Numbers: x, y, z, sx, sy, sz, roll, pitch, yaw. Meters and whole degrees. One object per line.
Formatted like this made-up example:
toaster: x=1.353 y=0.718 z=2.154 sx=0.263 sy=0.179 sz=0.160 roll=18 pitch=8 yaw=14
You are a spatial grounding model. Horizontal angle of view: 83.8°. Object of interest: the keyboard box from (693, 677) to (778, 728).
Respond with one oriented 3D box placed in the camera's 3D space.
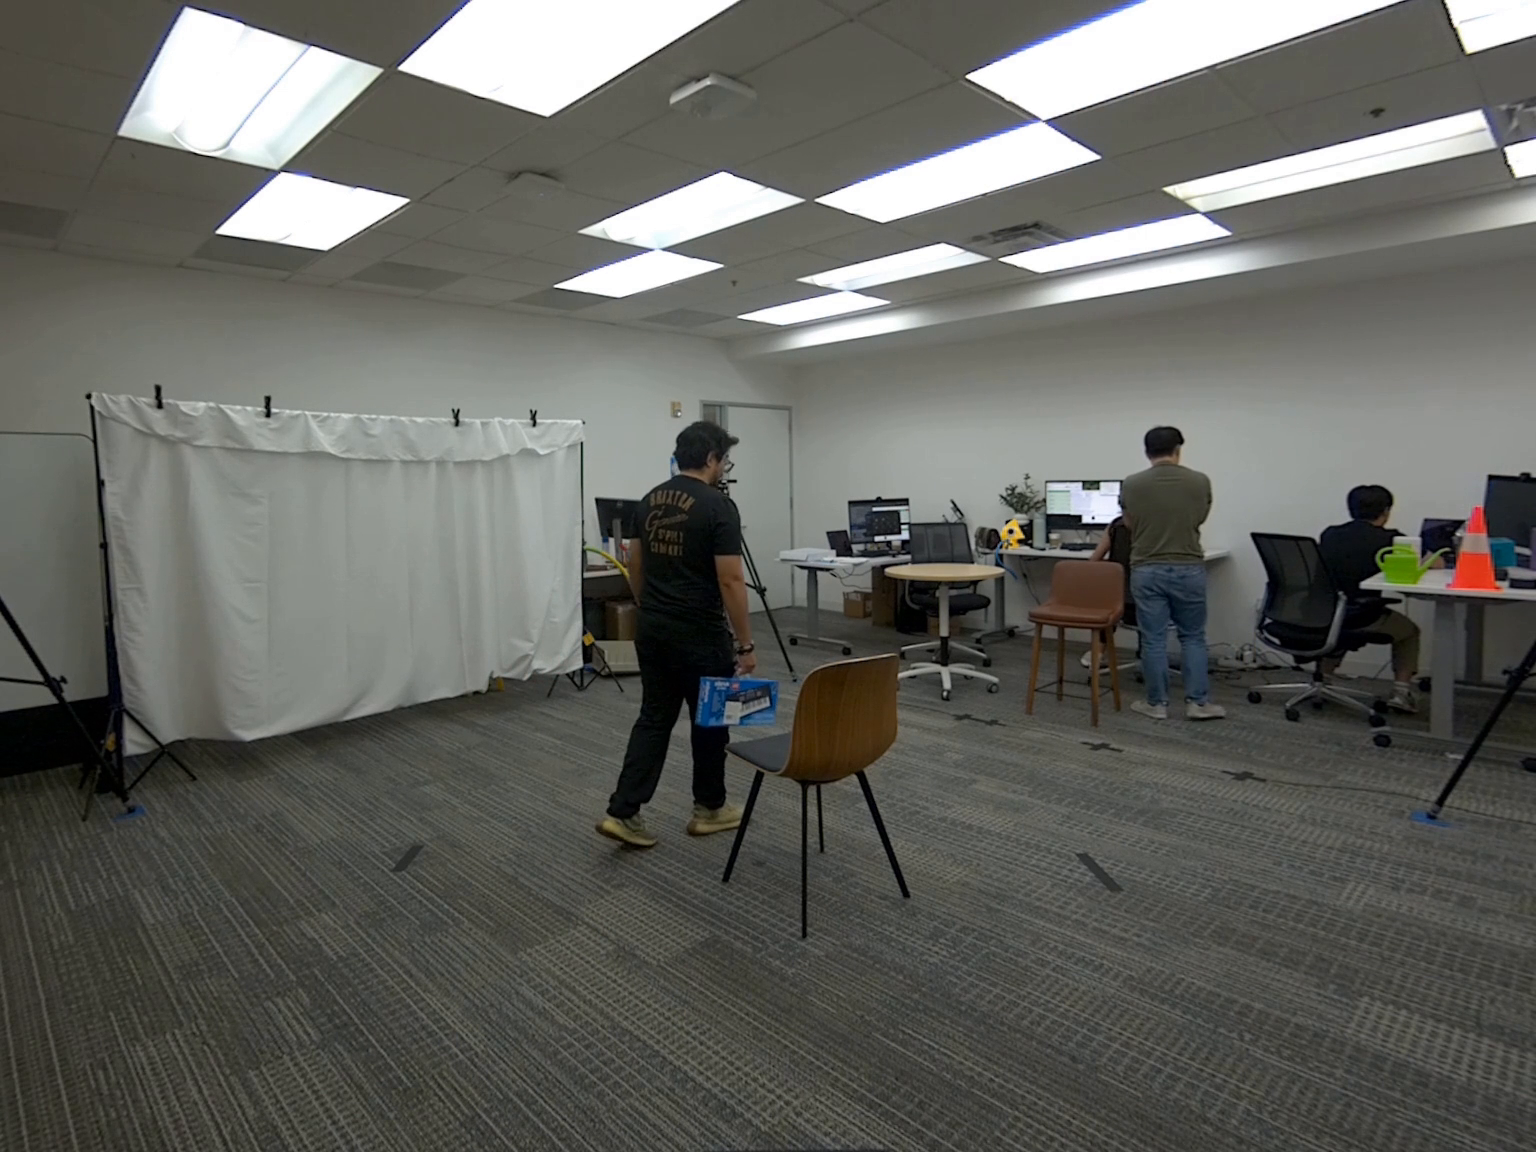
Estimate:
keyboard box: x=-0.109 y=0.477 z=3.252 sx=0.061 sy=0.176 sz=0.423 roll=3 pitch=-5 yaw=34
